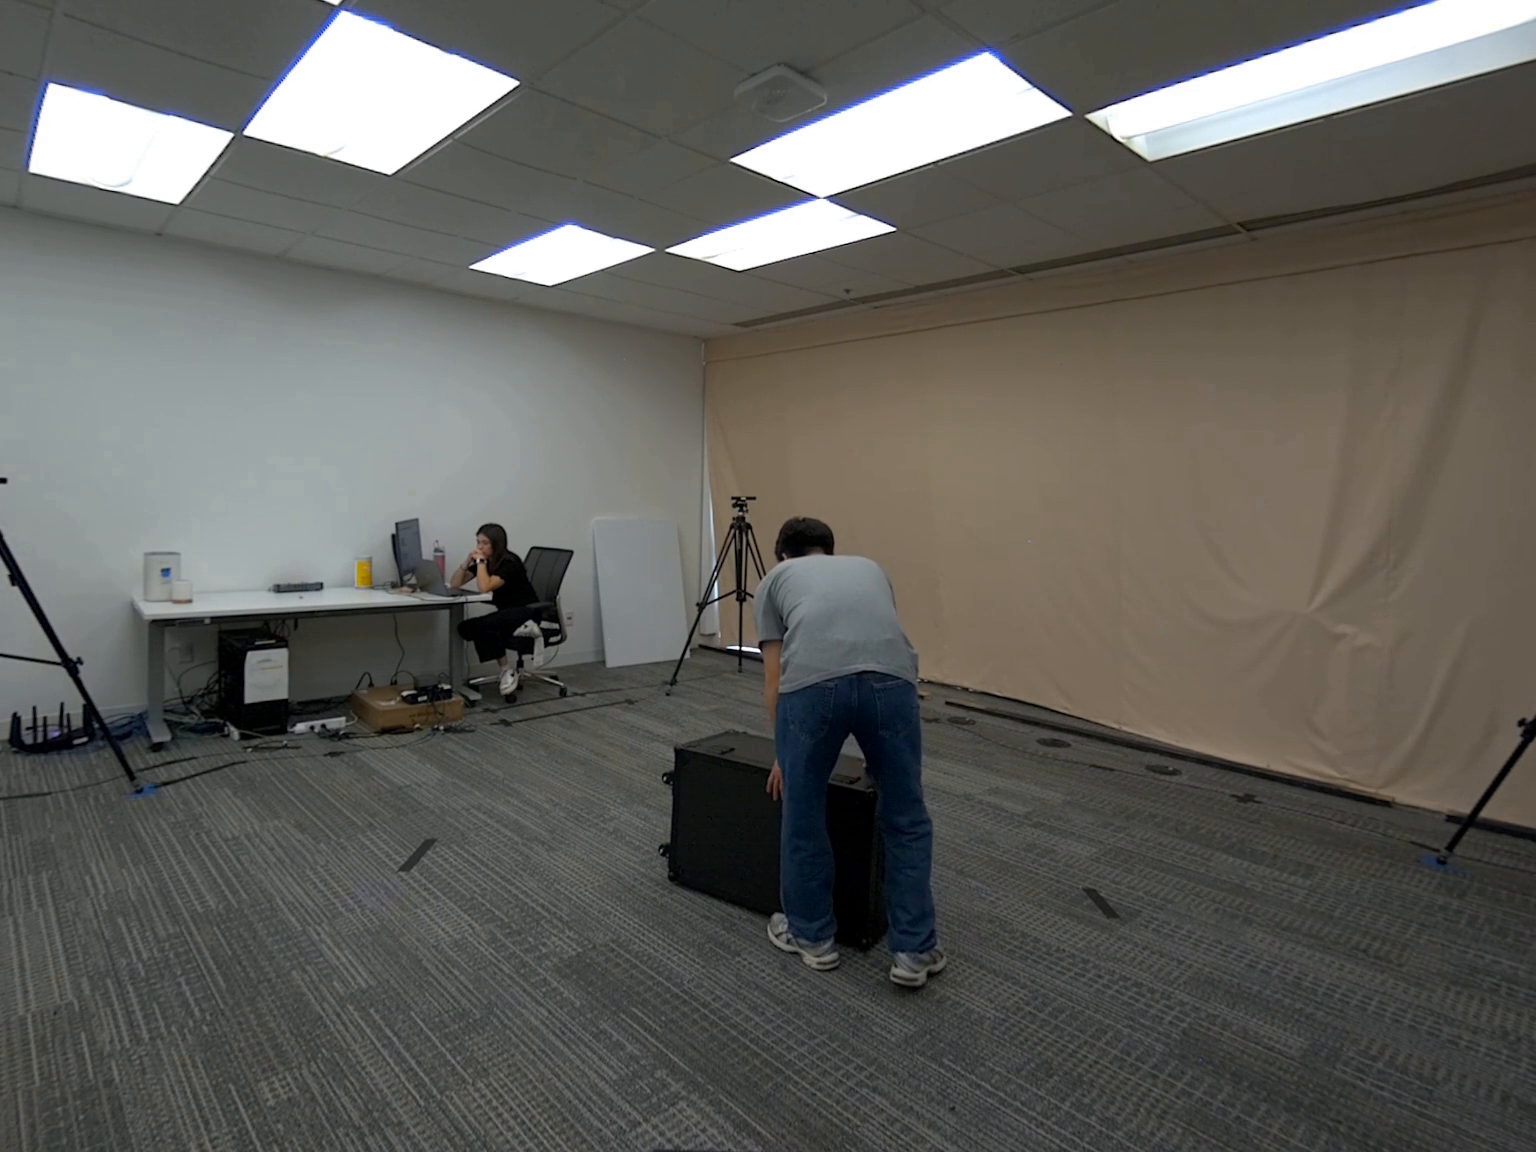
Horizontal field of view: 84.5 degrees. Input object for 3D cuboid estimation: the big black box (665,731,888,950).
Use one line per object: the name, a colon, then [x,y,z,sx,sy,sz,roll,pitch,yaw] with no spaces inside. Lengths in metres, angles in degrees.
big black box: [0.051,0.867,2.969,0.881,0.520,0.388,5,3,32]
